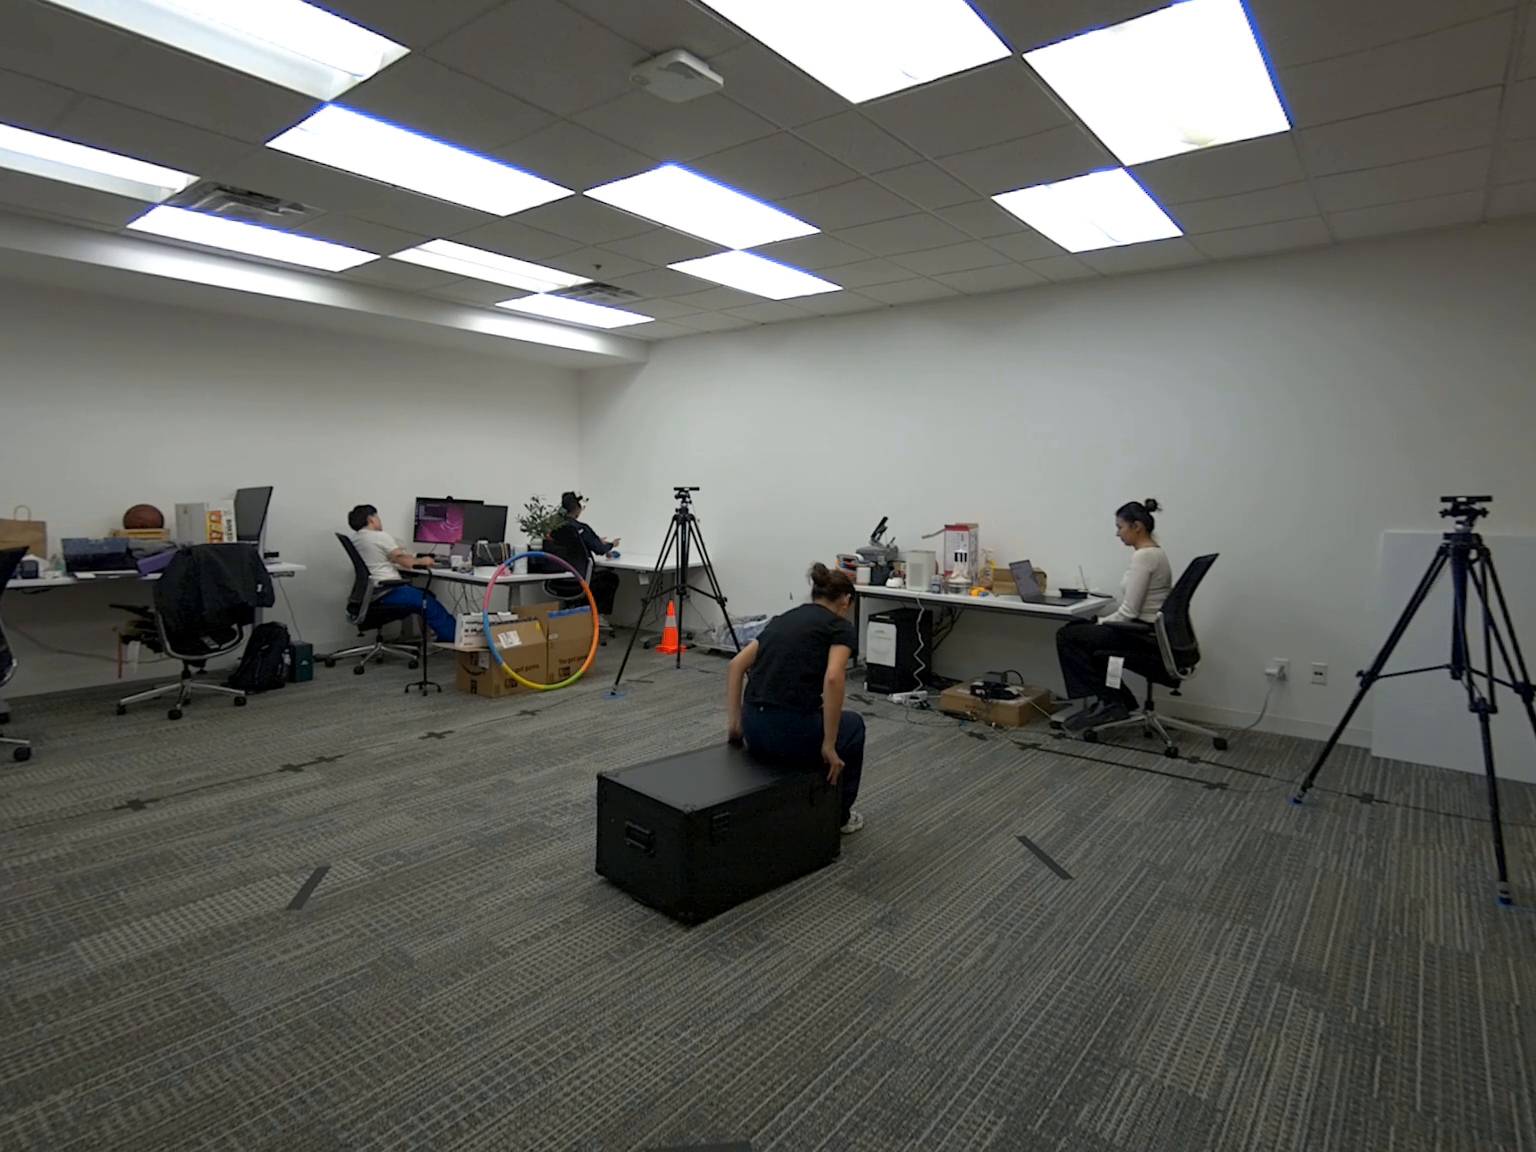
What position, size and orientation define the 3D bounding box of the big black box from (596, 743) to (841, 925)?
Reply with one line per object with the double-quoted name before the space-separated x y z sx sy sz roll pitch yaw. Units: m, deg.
"big black box" -0.176 0.882 3.081 0.834 0.395 0.539 -2 5 -45
